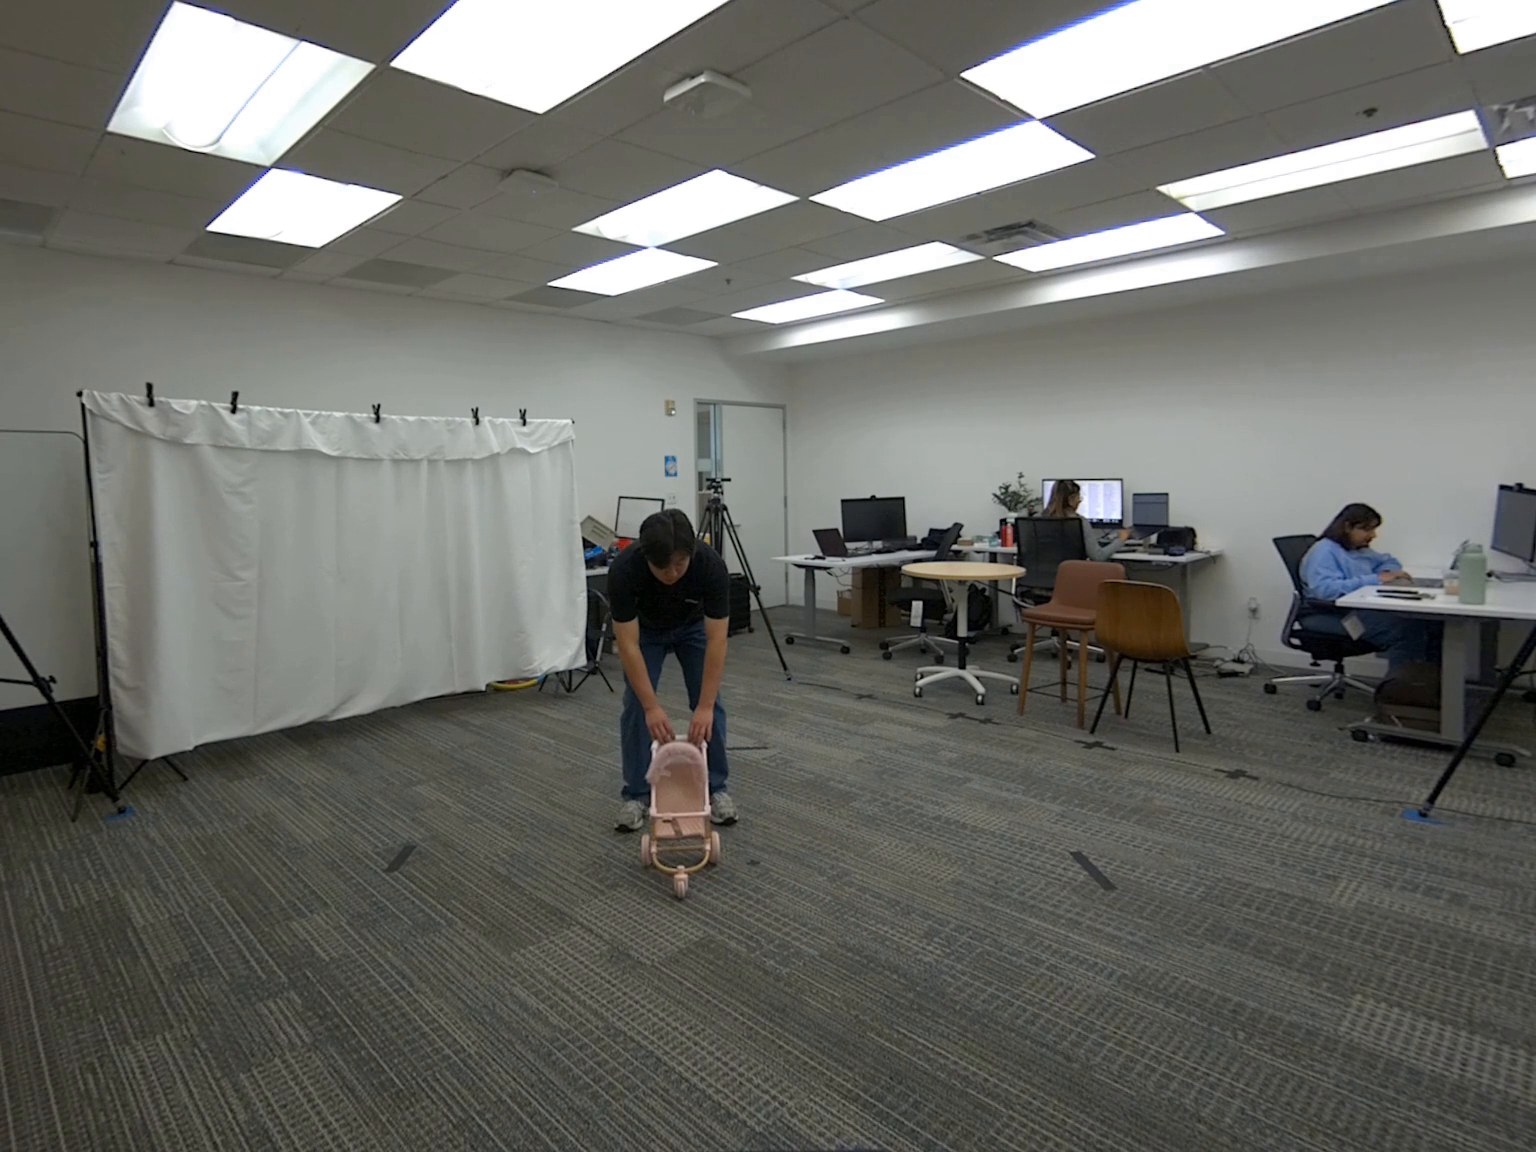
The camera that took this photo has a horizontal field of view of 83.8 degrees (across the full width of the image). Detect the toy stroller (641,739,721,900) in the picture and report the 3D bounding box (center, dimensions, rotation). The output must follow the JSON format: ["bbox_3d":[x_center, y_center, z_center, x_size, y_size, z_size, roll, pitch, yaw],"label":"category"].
[{"bbox_3d":[-0.315,0.835,3.028,0.281,0.542,0.337,-2,-13,-1],"label":"toy stroller"}]
